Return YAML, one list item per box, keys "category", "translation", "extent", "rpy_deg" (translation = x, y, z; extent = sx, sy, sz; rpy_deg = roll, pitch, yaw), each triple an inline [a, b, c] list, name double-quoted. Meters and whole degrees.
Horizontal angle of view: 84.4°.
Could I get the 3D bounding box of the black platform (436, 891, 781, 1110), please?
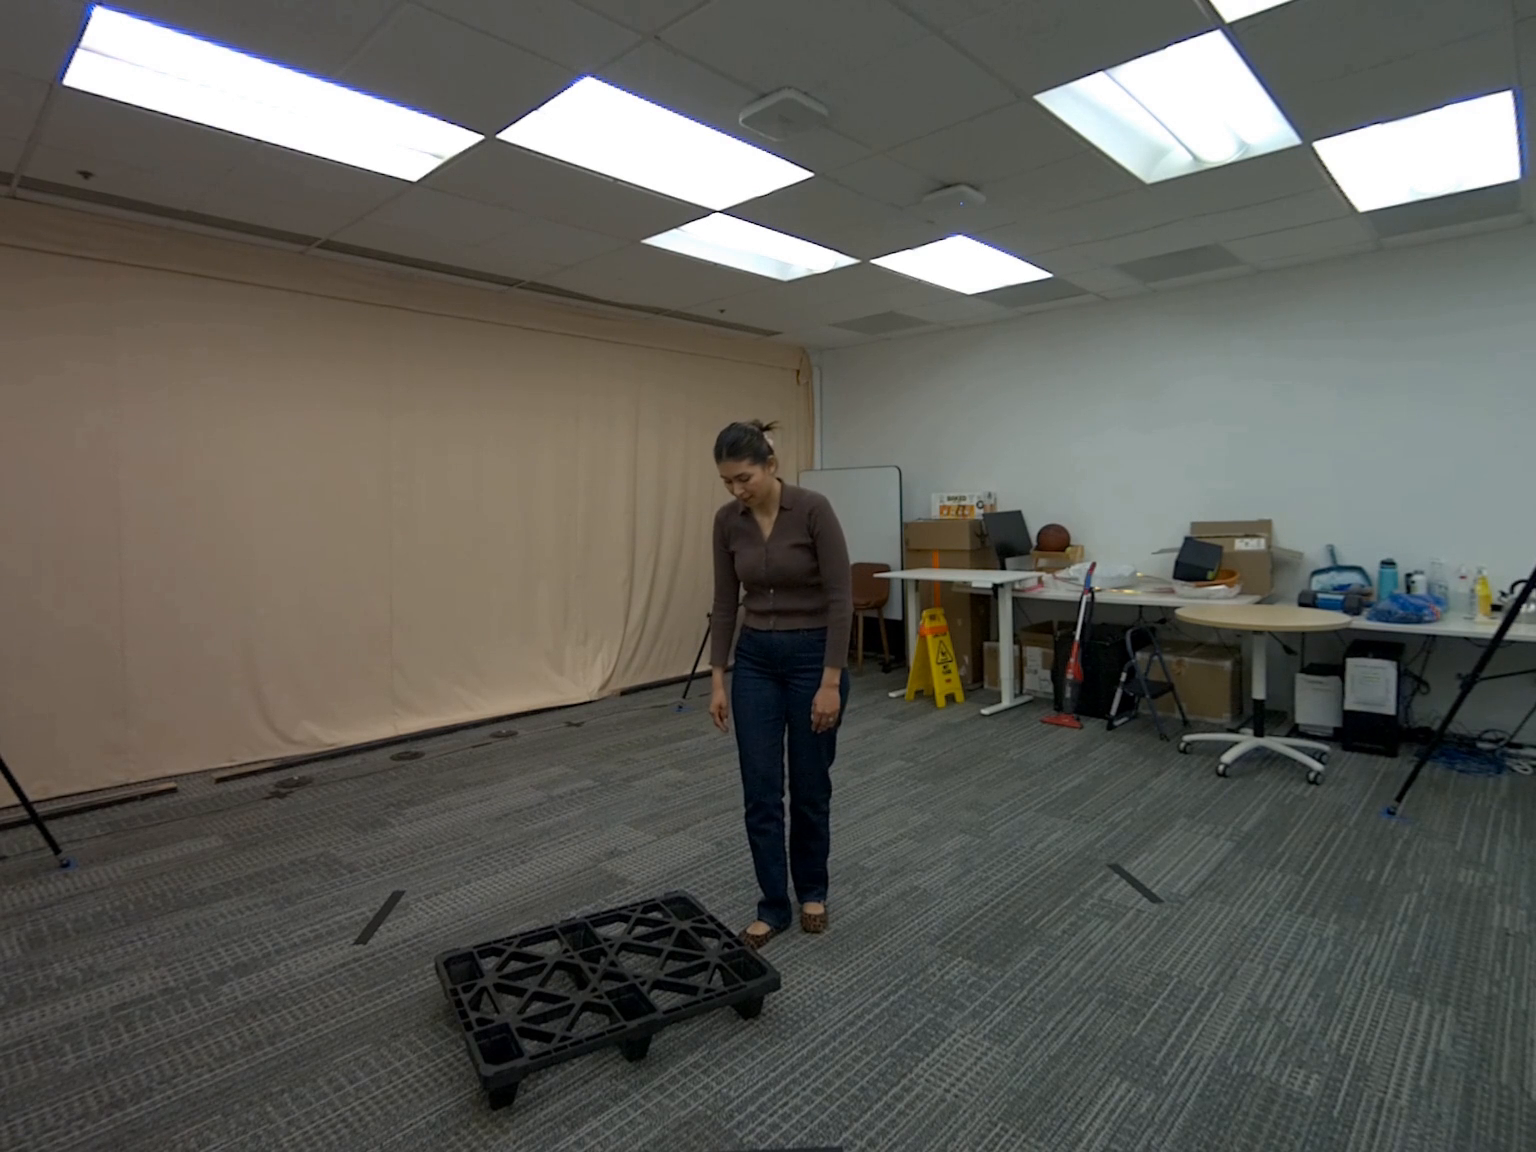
- category: "black platform"
  translation: [-0.444, 1.139, 2.318]
  extent: [0.785, 0.143, 0.623]
  rpy_deg: [-4, 6, -30]
